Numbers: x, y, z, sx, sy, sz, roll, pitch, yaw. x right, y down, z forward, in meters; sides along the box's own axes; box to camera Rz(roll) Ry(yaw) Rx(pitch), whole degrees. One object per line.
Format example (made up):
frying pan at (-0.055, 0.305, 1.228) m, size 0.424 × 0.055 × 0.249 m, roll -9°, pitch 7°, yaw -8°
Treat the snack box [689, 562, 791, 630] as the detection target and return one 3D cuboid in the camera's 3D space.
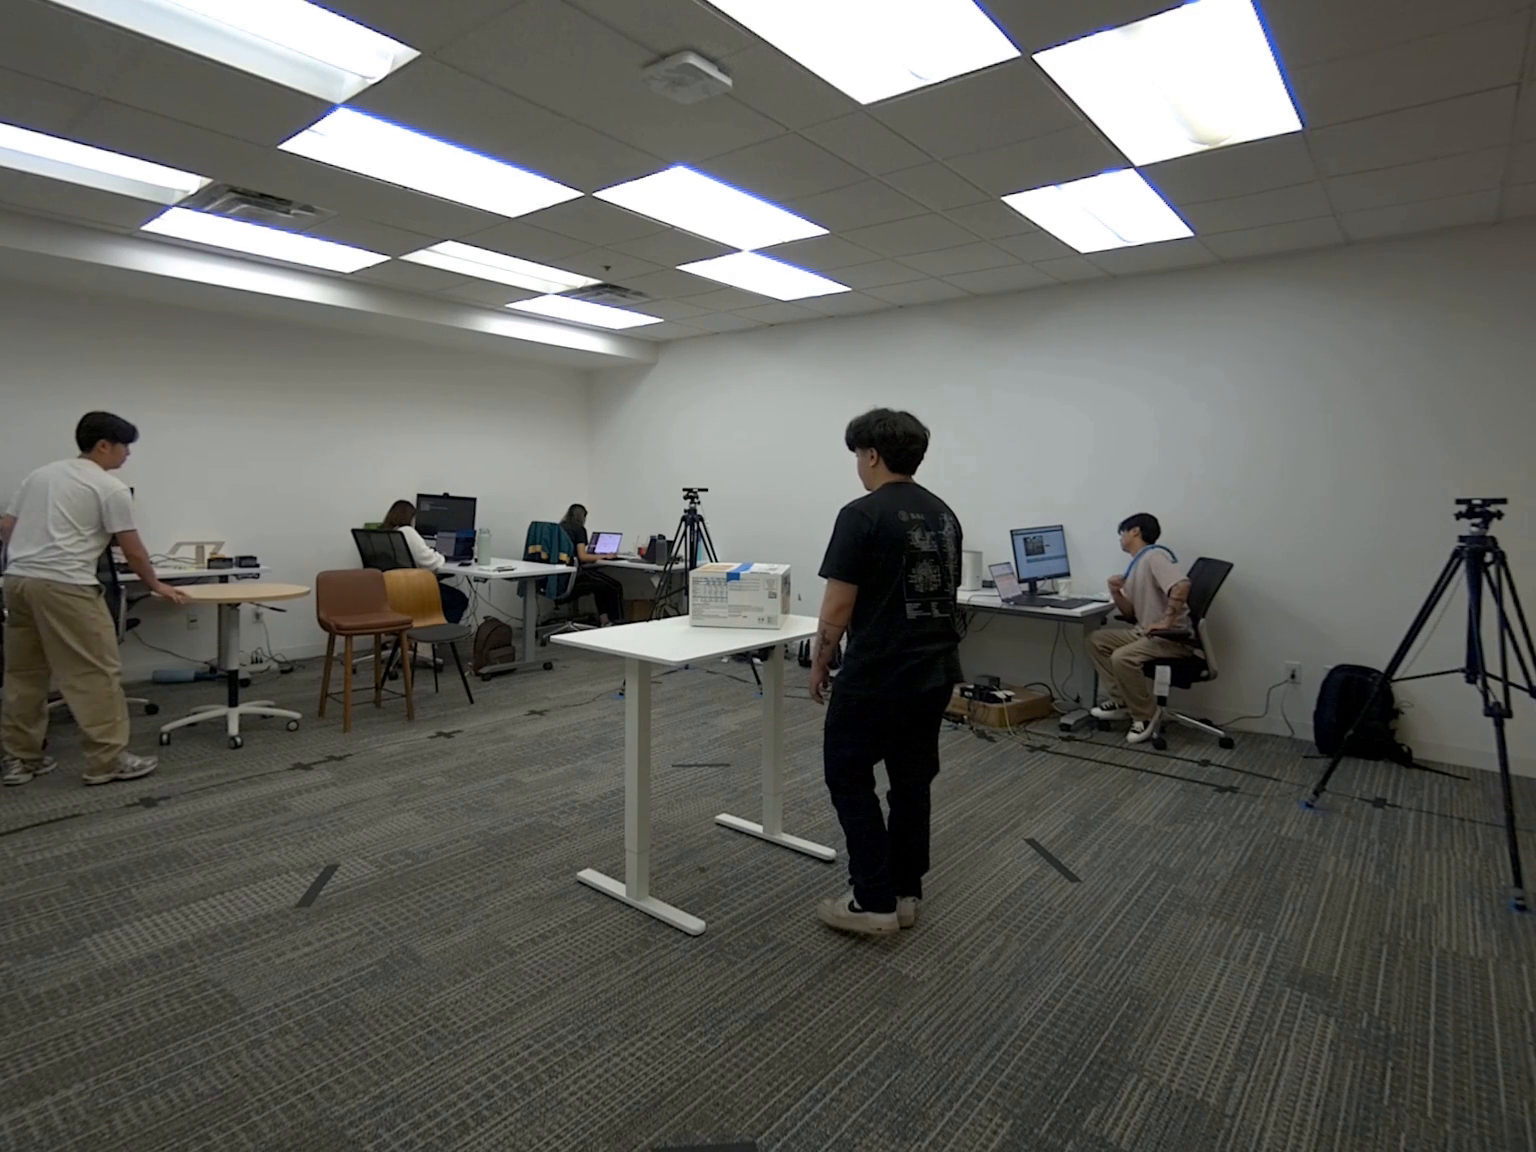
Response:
snack box at (-0.106, 0.065, 3.288) m, size 0.344 × 0.205 × 0.403 m, roll 1°, pitch 5°, yaw 8°
